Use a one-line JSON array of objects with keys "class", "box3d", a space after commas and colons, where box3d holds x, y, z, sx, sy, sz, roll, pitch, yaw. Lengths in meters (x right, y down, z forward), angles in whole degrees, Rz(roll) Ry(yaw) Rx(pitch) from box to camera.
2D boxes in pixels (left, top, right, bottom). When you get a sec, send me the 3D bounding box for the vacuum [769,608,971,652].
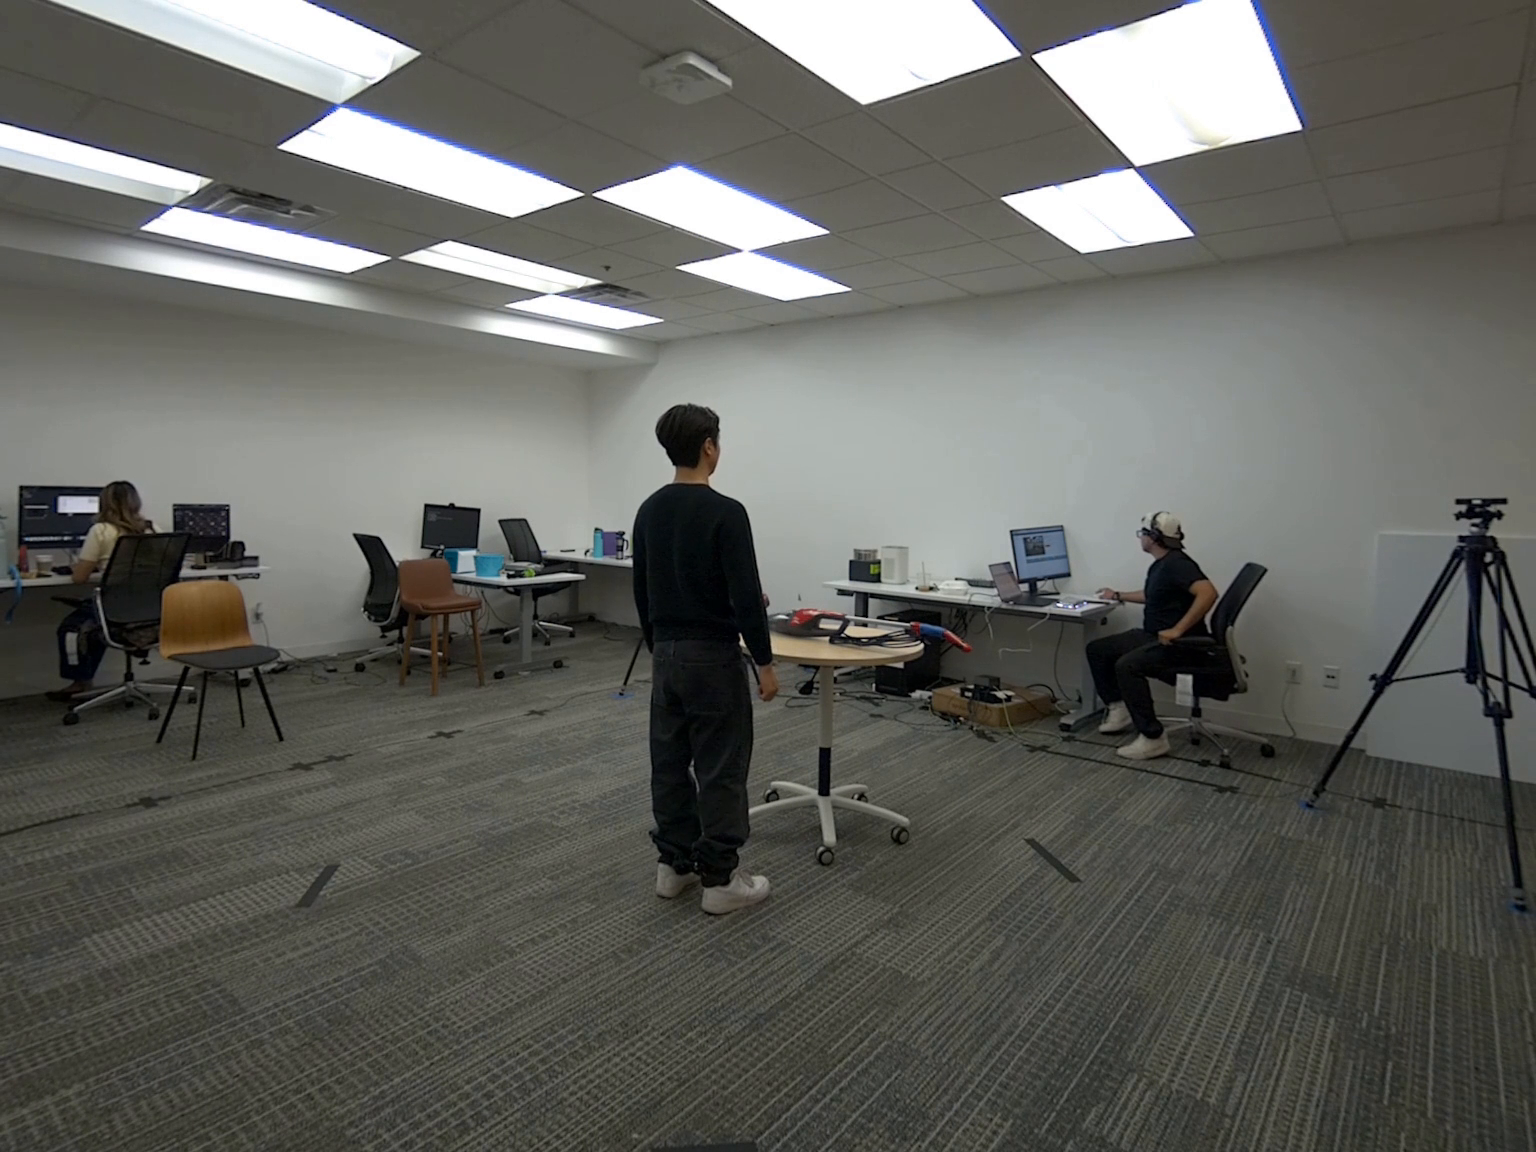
[{"class": "vacuum", "box3d": [0.323, 0.219, 3.364, 0.246, 0.143, 1.086, -11, 12, -43]}]
